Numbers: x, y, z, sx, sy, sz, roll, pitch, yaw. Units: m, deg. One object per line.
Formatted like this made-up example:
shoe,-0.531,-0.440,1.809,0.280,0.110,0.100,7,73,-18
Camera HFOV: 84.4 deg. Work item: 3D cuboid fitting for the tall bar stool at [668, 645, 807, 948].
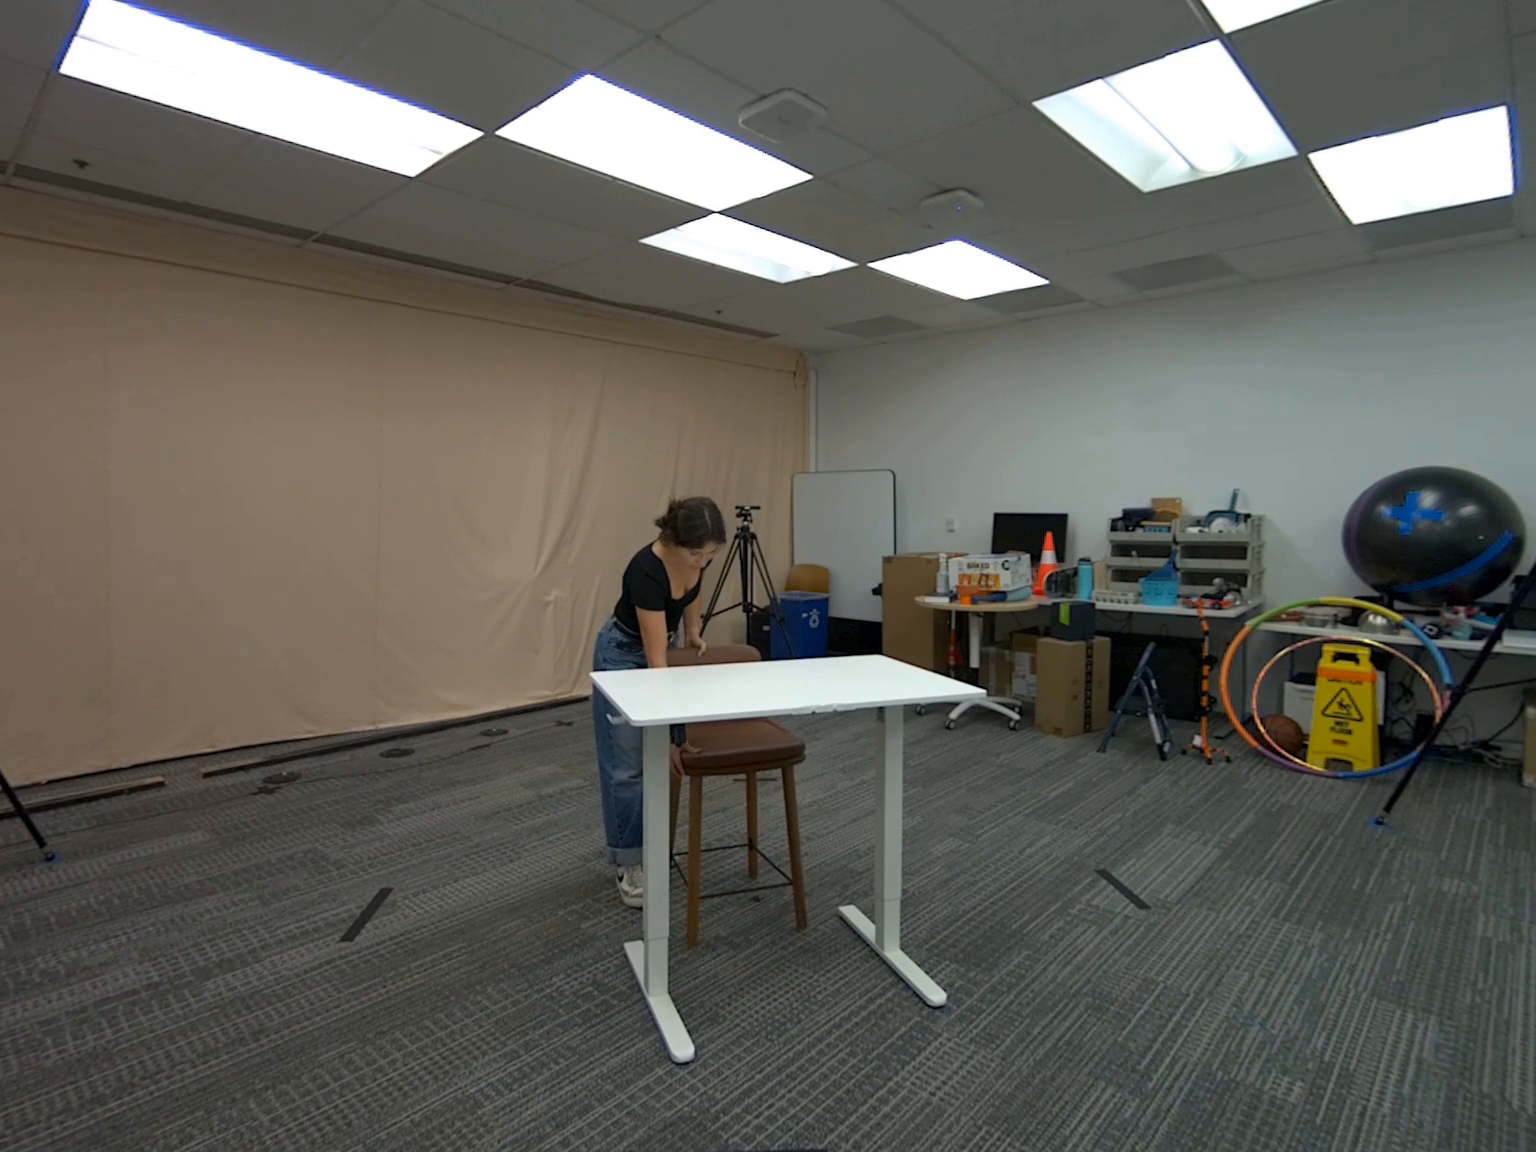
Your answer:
tall bar stool,-0.137,0.717,2.901,0.448,0.889,0.477,-1,1,-19
